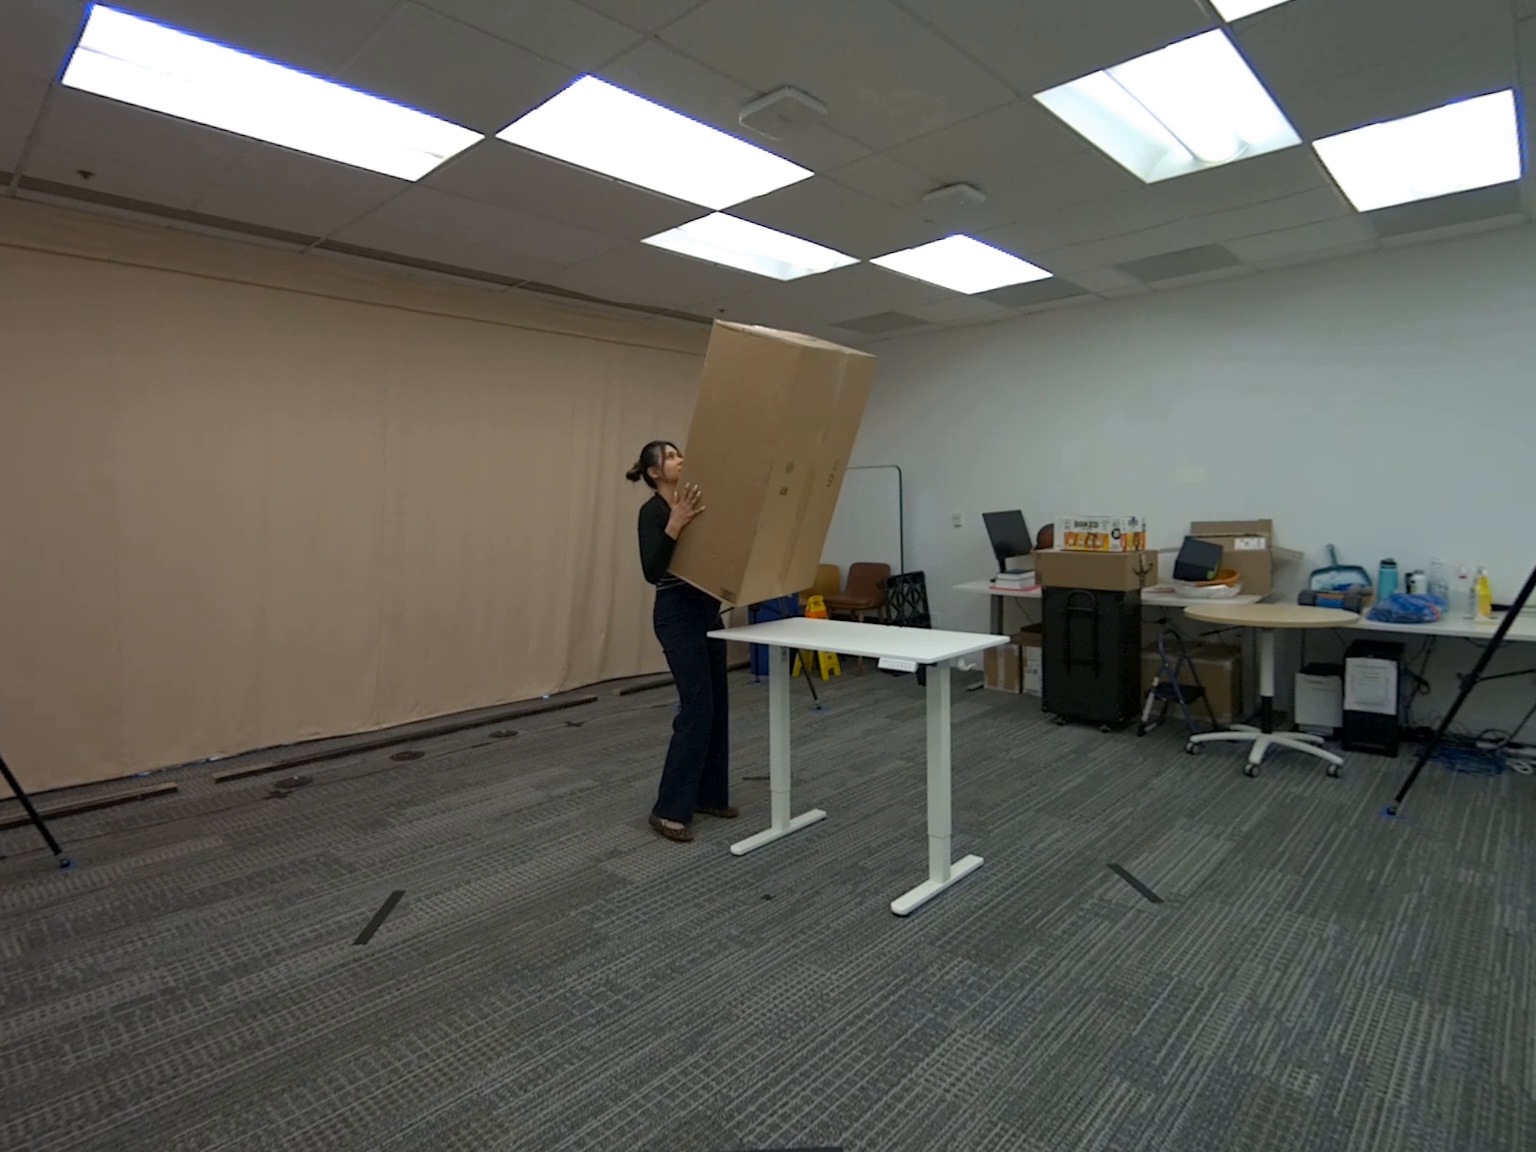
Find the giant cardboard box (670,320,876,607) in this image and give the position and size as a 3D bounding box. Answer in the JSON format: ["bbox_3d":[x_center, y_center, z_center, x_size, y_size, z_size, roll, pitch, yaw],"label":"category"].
[{"bbox_3d":[0.003,-0.453,3.425,0.441,1.019,0.562,26,21,31],"label":"giant cardboard box"}]
